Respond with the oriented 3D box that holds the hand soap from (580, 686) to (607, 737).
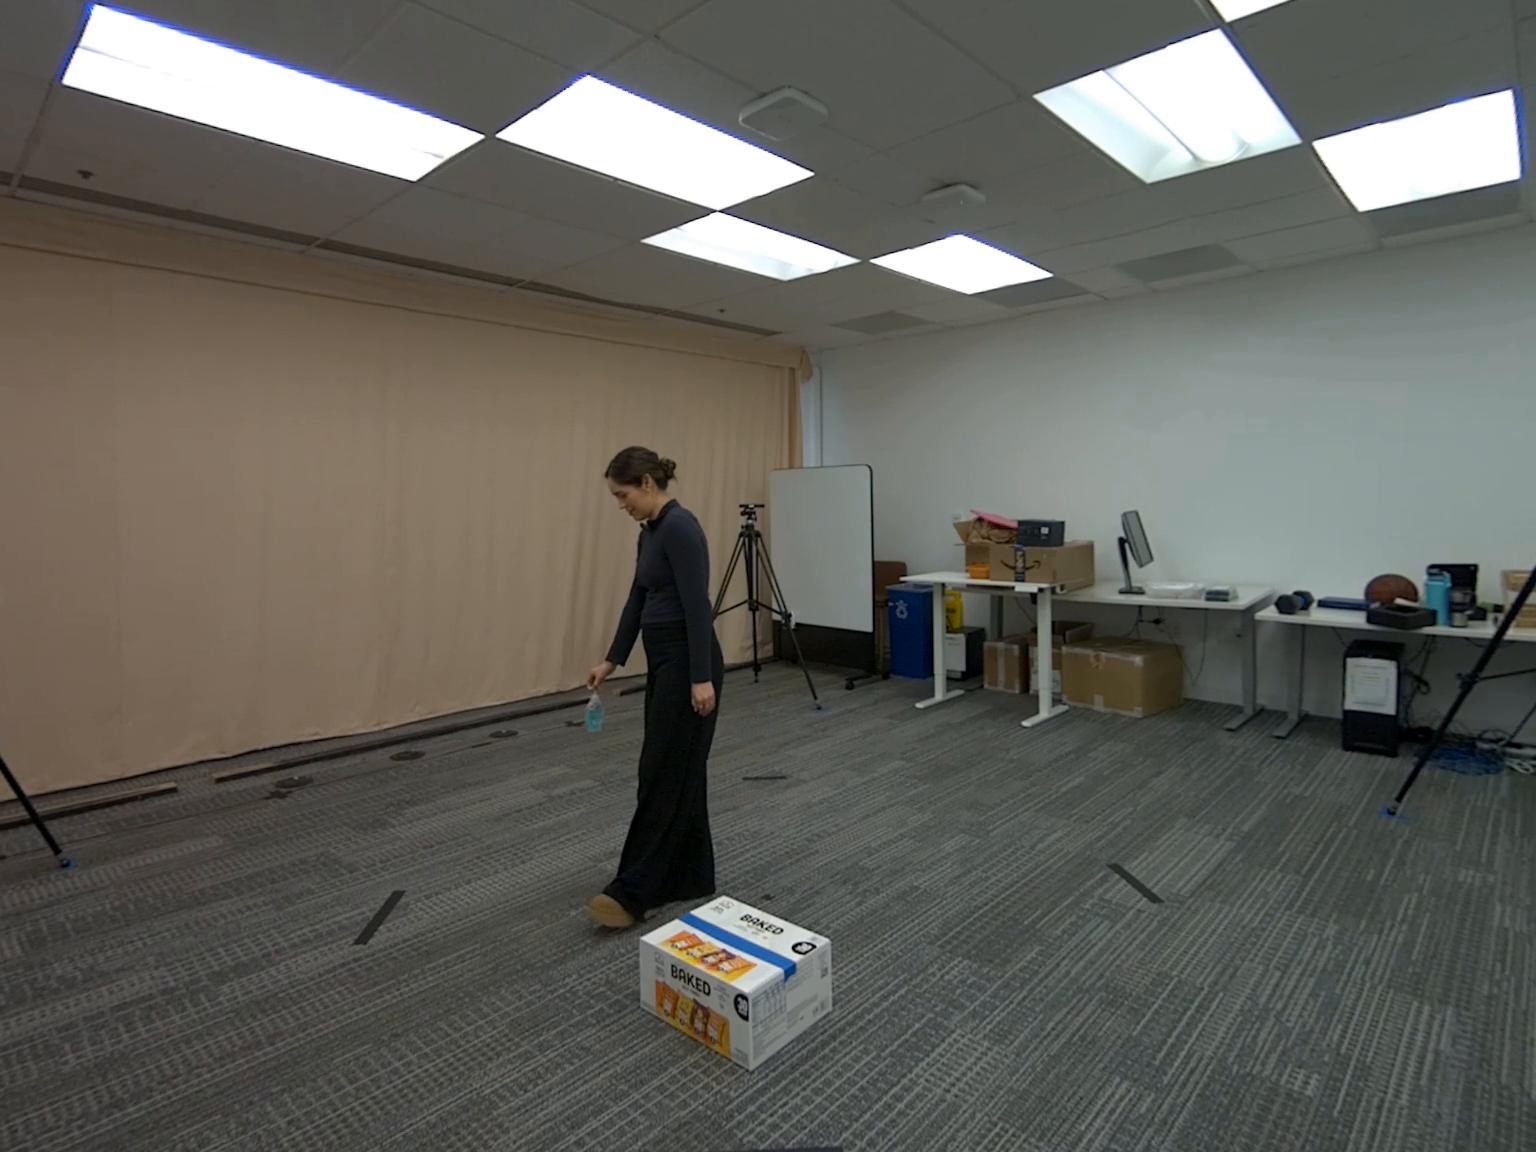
[{"bbox_3d":[-0.646,0.496,3.130,0.045,0.168,0.082,2,5,34],"label":"hand soap"}]
